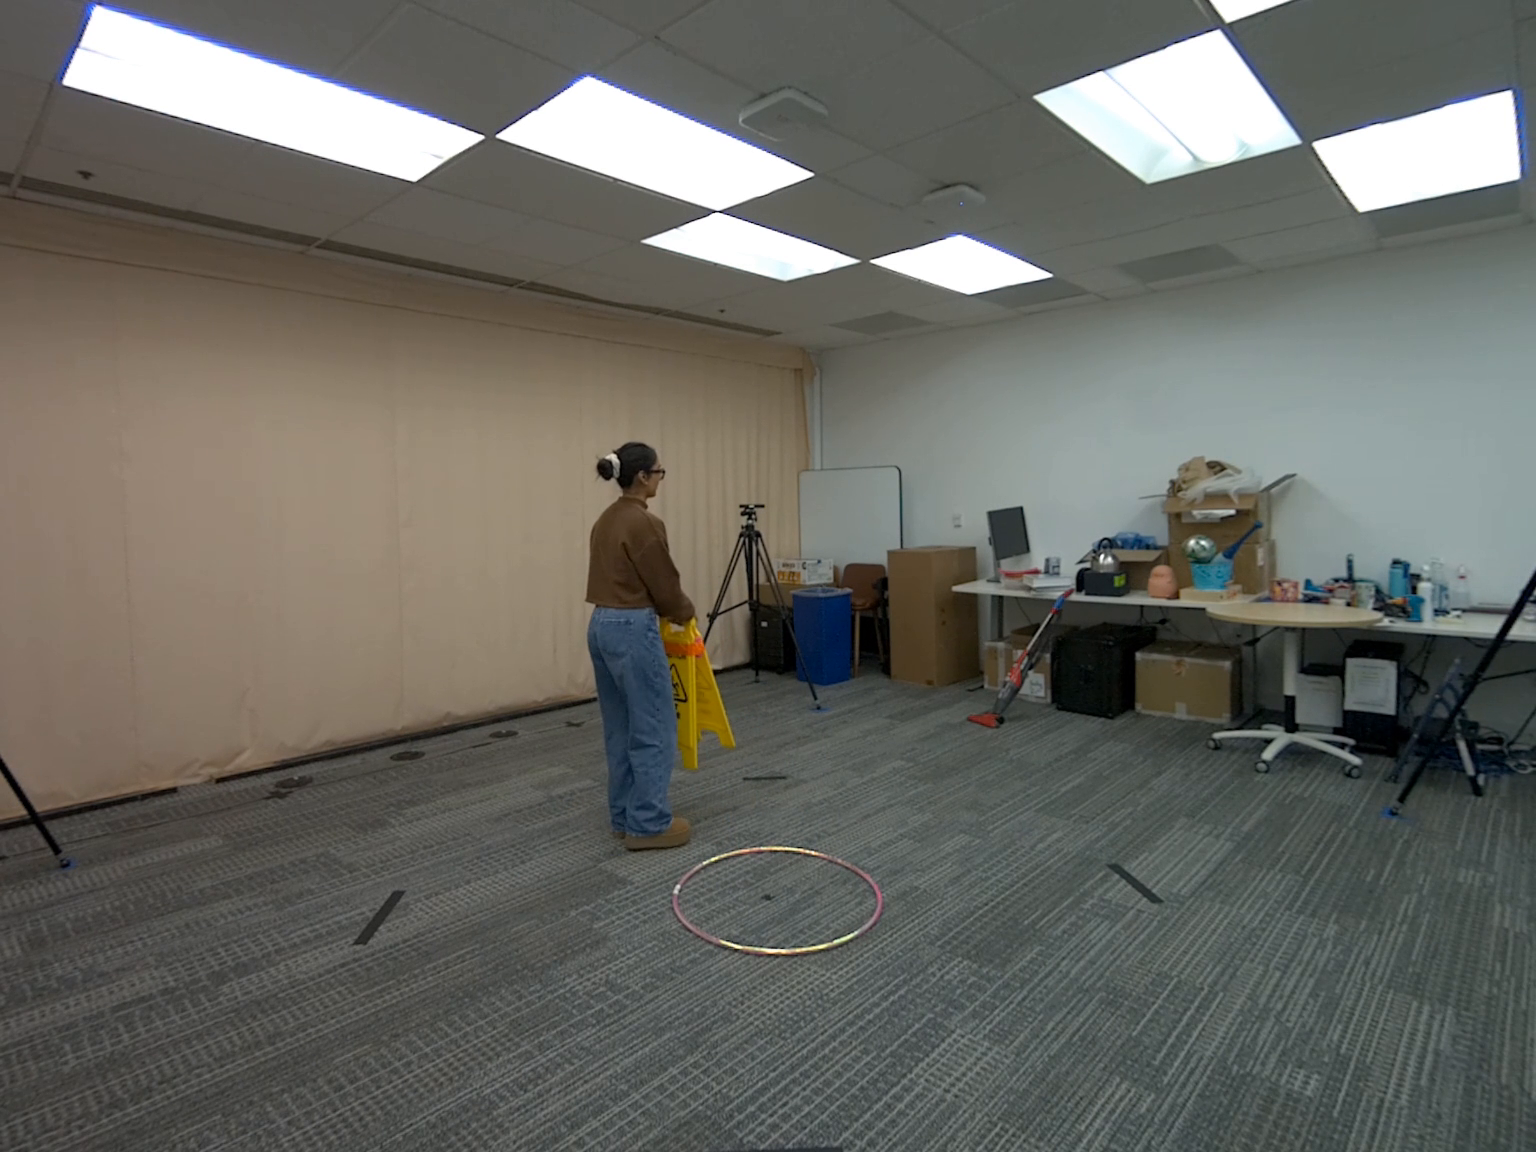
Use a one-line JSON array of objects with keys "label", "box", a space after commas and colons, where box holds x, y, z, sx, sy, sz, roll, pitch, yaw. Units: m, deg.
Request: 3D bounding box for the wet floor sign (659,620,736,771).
[{"label": "wet floor sign", "box": [-0.369, 0.484, 3.738, 0.291, 0.642, 0.282, 2, 11, 39]}]
